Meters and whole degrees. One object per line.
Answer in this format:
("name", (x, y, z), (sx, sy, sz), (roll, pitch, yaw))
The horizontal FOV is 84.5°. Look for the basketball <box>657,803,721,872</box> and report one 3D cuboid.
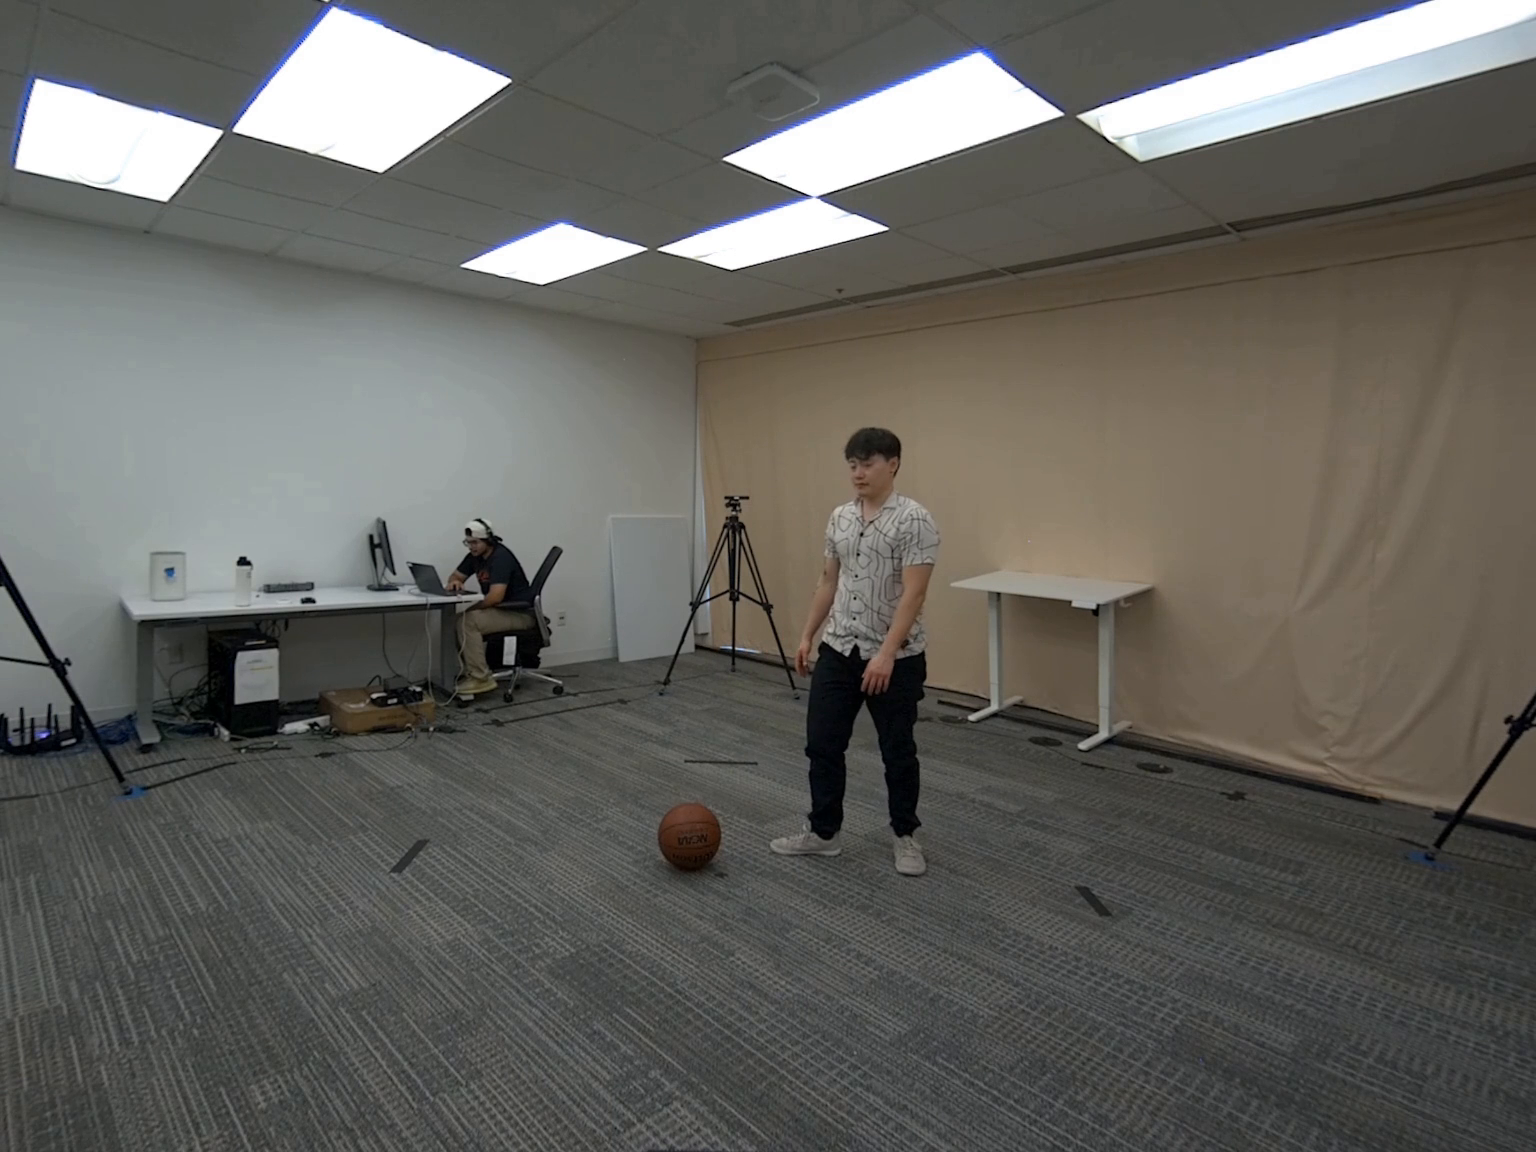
("basketball", (-0.298, 0.971, 3.158), (0.236, 0.235, 0.237), (1, 4, -1))
